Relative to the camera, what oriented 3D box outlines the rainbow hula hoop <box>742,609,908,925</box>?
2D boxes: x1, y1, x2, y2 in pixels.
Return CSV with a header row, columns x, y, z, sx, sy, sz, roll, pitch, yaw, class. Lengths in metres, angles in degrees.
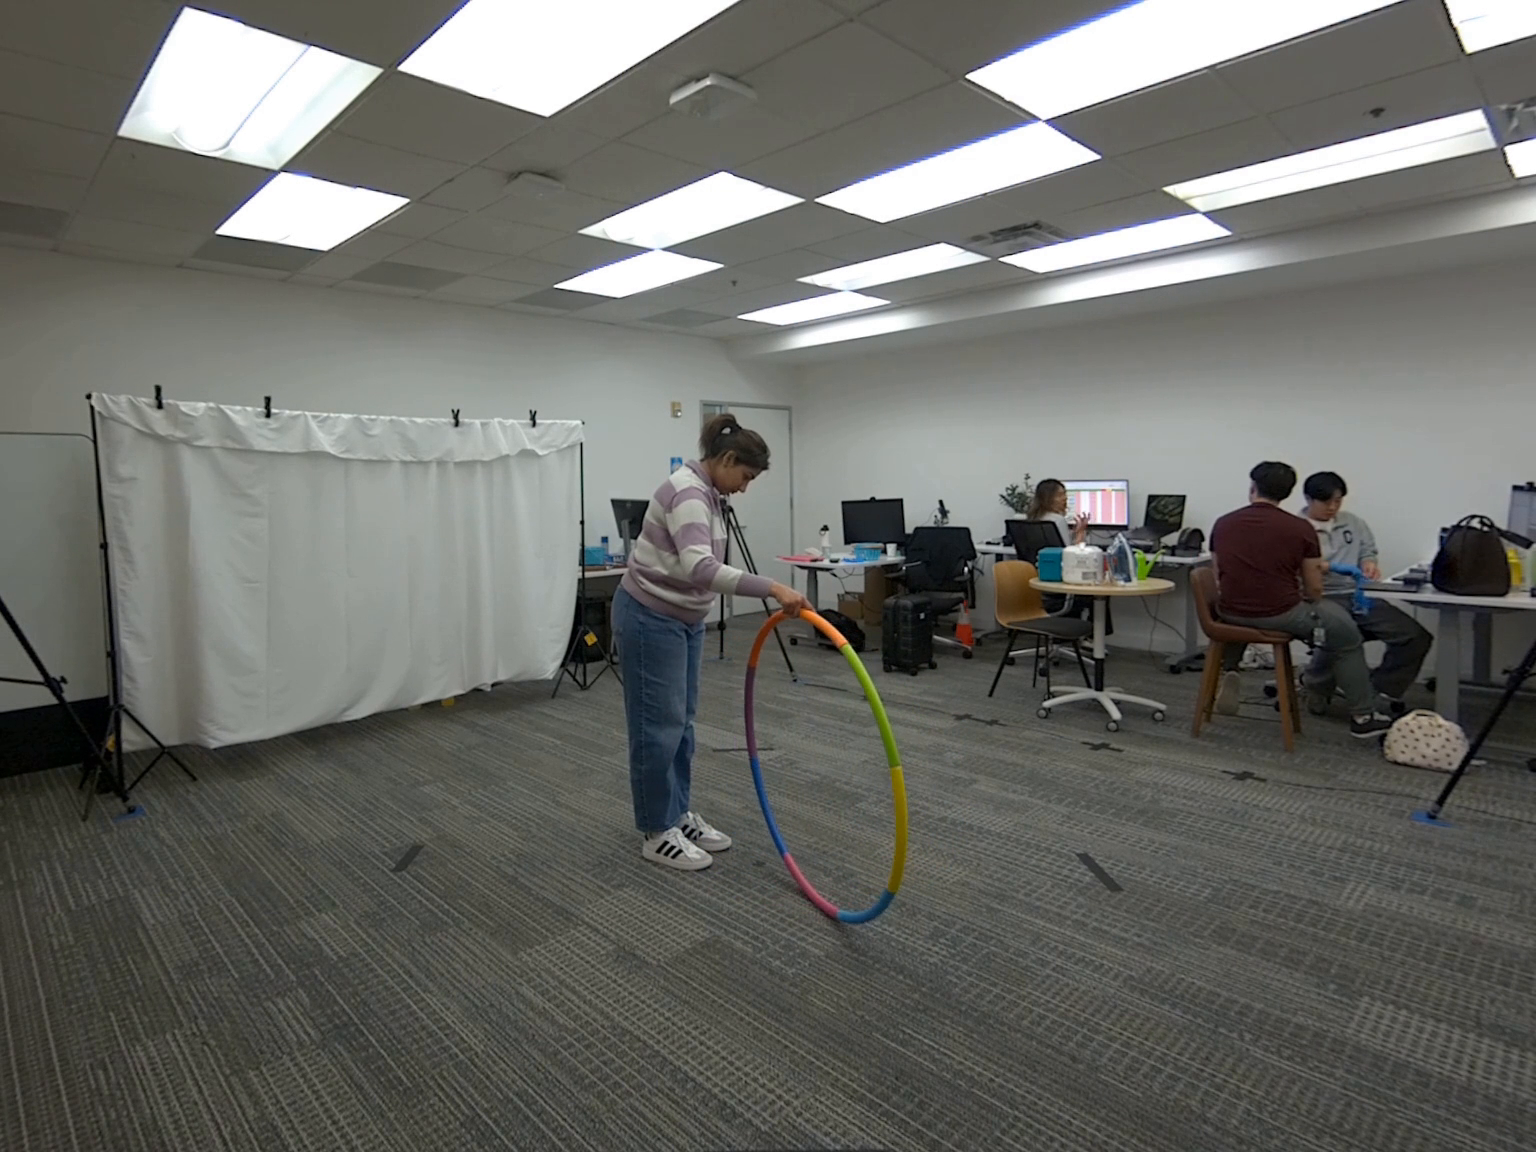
x,y,z,sx,sy,sz,roll,pitch,yaw,class
0.152,0.599,2.747,0.035,0.974,1.003,-6,6,-26,rainbow hula hoop
